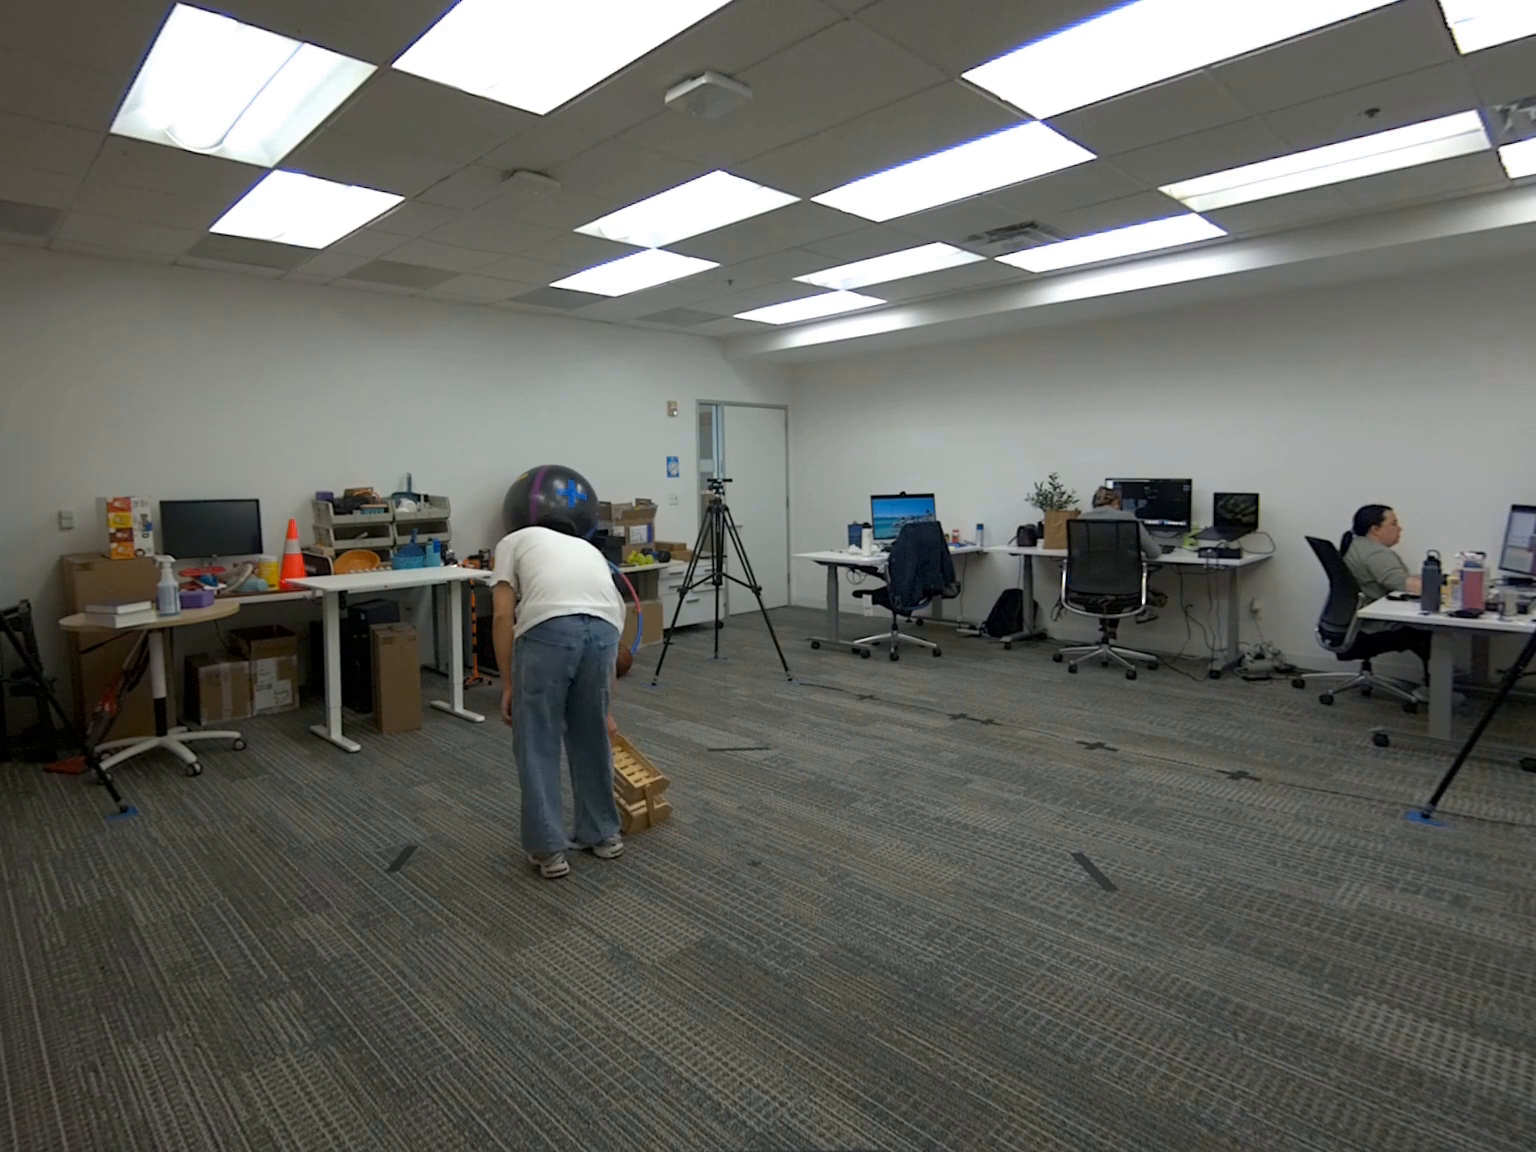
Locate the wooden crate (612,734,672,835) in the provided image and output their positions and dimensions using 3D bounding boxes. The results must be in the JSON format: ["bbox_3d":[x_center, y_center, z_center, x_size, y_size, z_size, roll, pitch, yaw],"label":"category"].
[{"bbox_3d":[-0.560,0.824,3.476,0.336,0.270,0.294,33,24,32],"label":"wooden crate"}]
